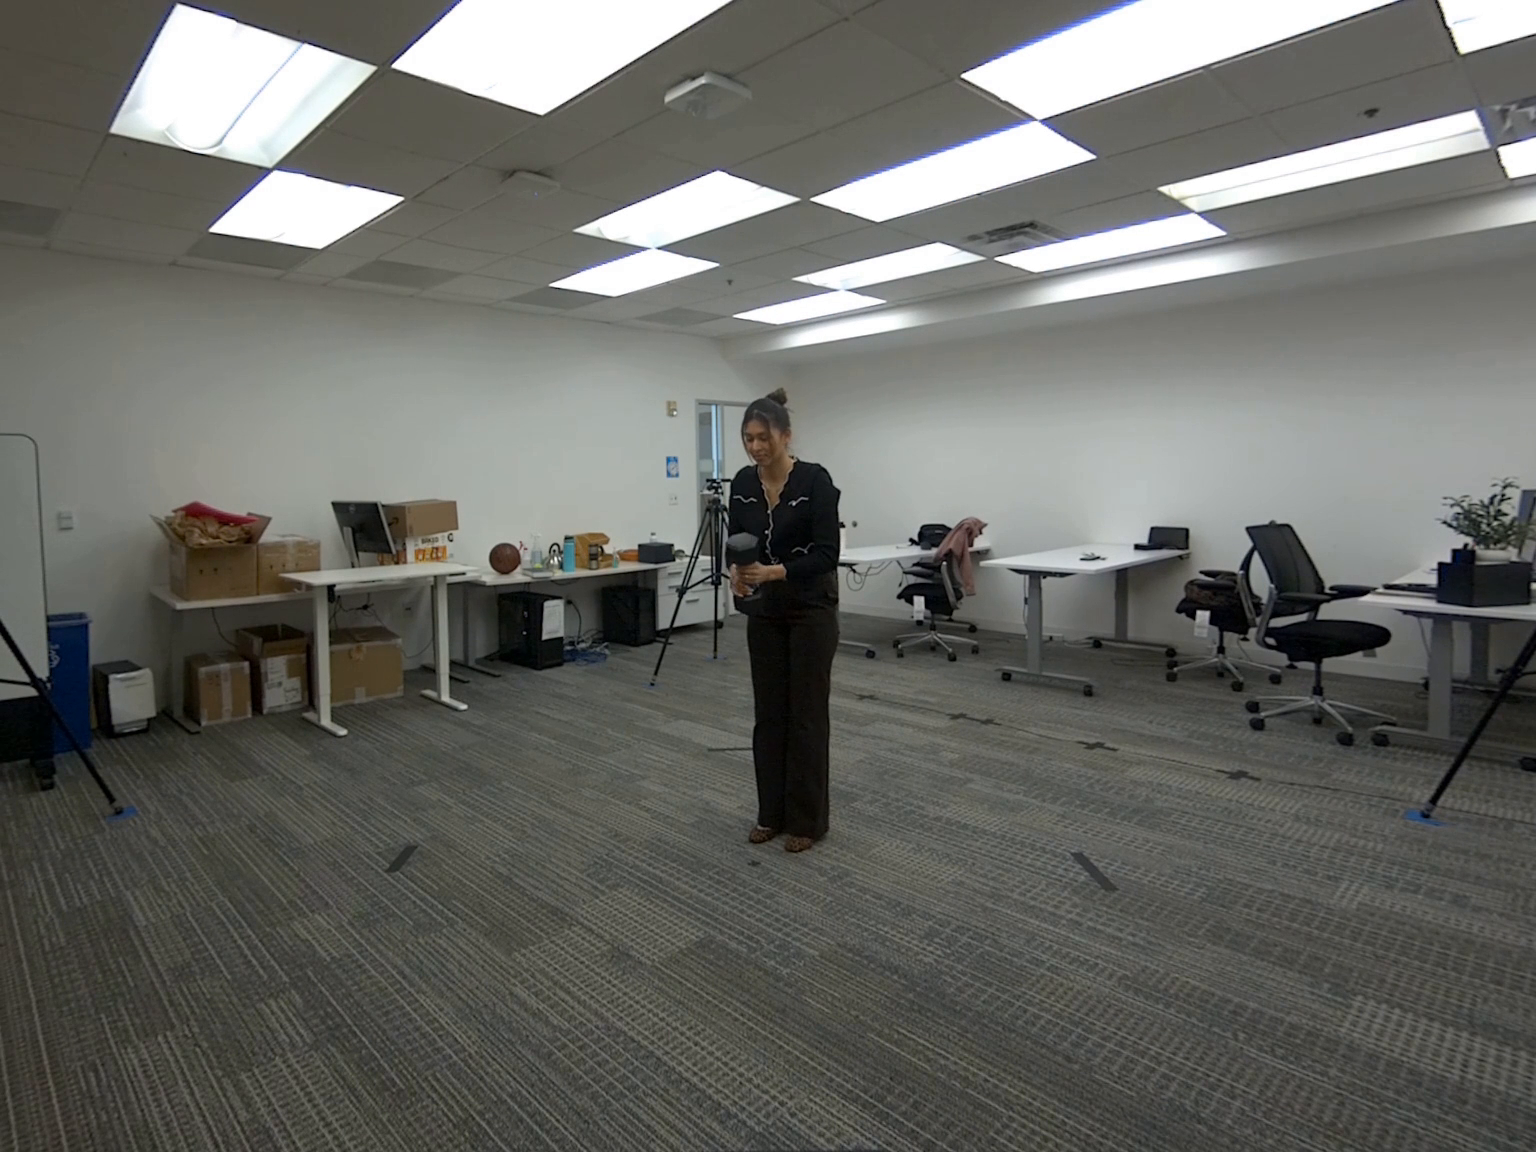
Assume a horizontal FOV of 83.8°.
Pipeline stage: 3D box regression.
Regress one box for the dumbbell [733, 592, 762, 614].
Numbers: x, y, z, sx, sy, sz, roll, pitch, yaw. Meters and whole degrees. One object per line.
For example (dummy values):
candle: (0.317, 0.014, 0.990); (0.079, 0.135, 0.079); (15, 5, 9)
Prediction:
dumbbell: (-0.072, 0.003, 3.067); (0.122, 0.286, 0.112); (-16, 29, -14)
